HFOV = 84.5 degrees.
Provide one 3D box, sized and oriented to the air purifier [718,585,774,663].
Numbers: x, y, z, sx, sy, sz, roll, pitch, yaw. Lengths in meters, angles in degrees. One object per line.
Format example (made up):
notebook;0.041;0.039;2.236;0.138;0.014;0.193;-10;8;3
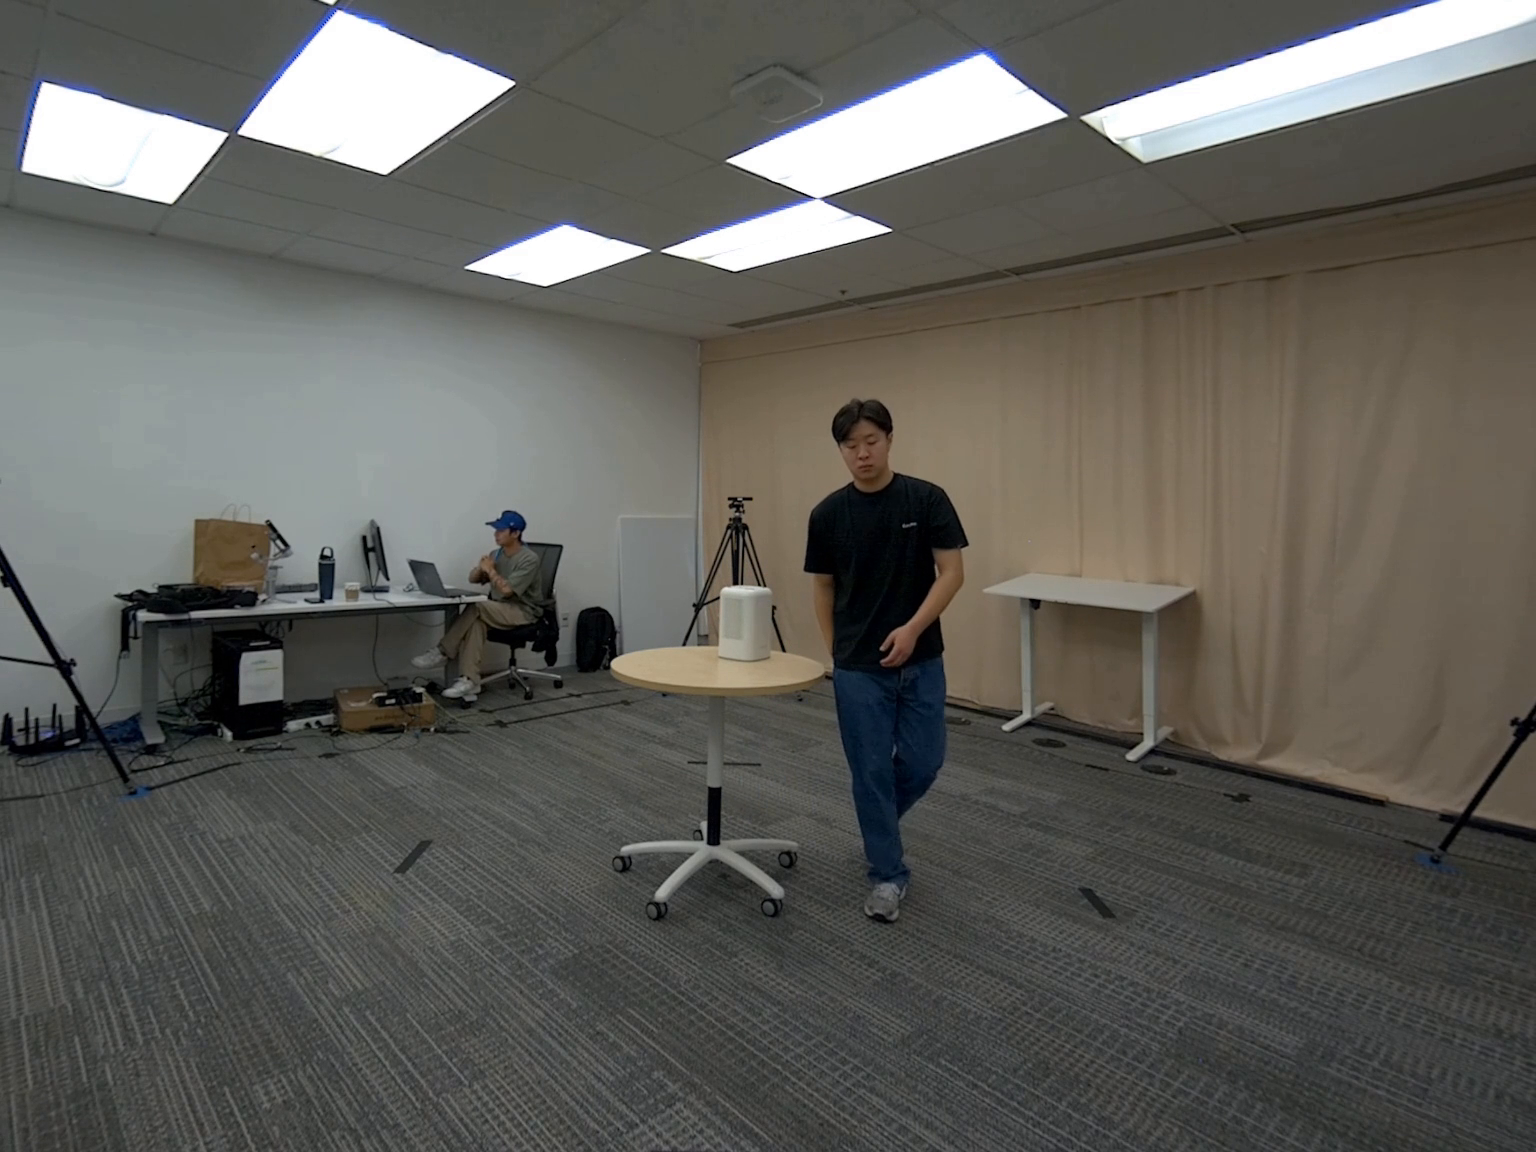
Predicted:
air purifier;-0.093;0.174;3.182;0.175;0.265;0.167;5;4;32
